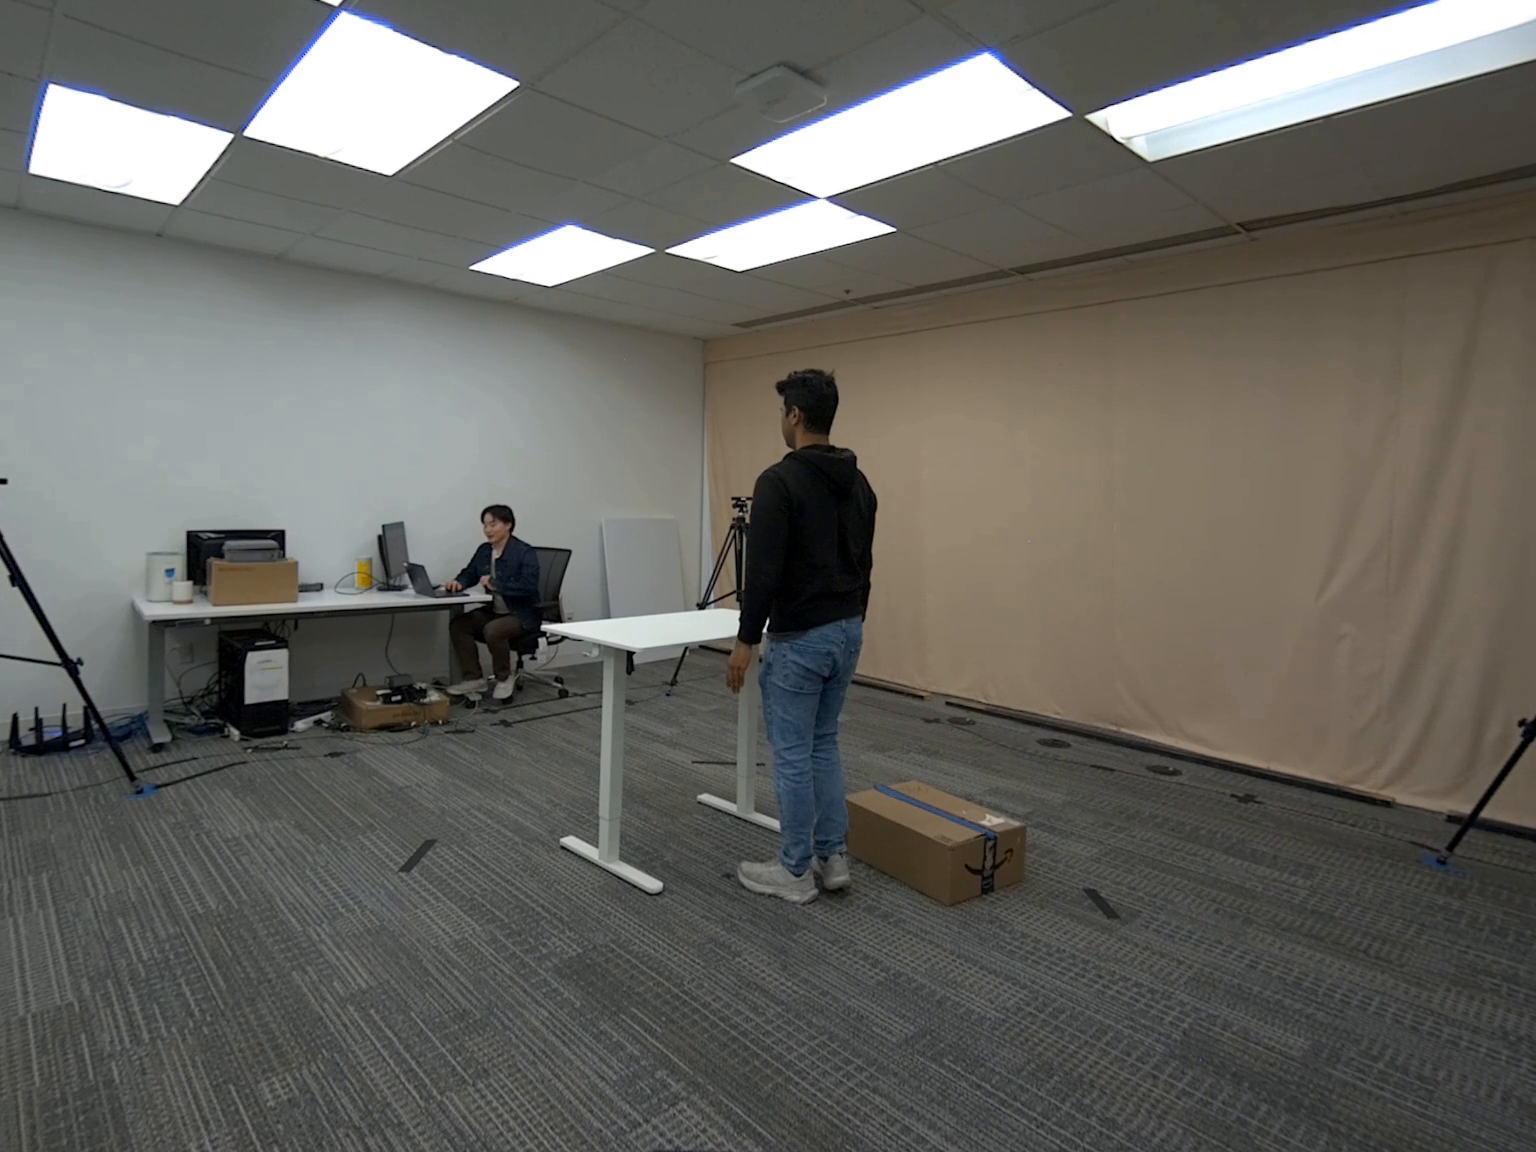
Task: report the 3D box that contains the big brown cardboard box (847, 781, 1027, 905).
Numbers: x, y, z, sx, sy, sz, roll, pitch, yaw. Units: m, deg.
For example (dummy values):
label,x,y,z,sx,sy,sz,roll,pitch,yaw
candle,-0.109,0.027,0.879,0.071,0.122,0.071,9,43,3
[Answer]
label,x,y,z,sx,sy,sz,roll,pitch,yaw
big brown cardboard box,0.615,1.004,3.238,0.408,0.233,0.603,-1,5,-36
